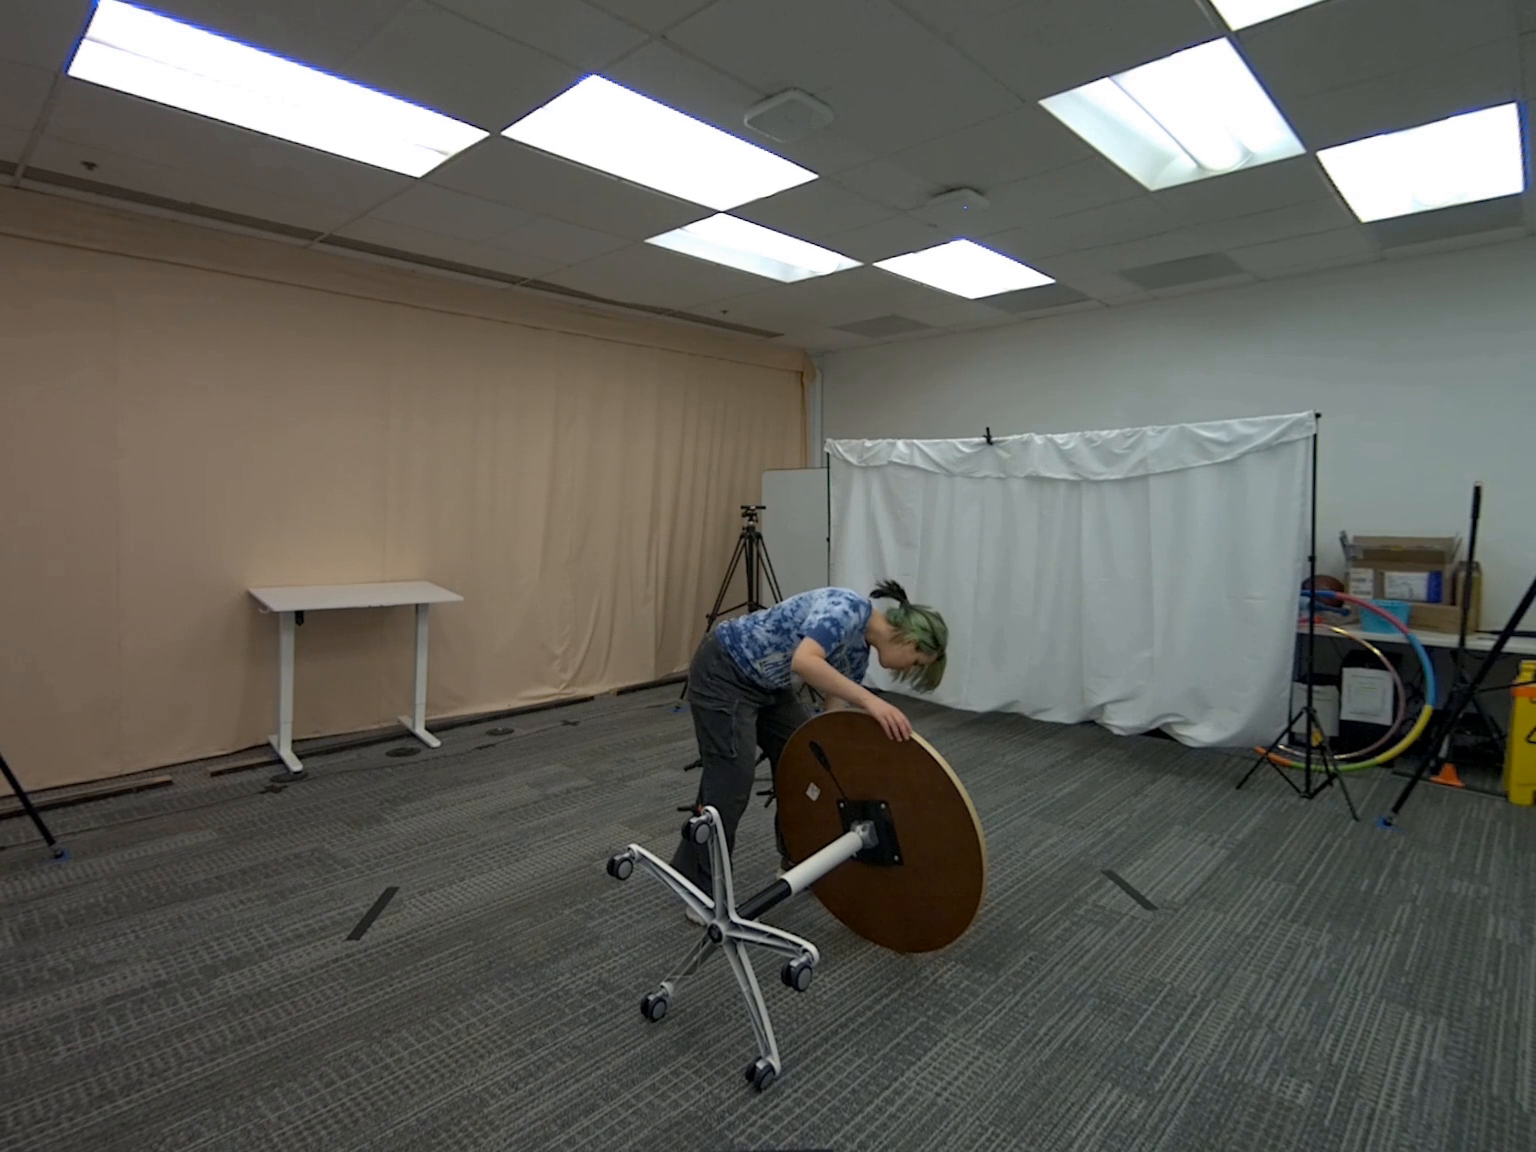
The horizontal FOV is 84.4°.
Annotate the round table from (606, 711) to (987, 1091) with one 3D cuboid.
[{"bbox_3d":[0.078,0.854,2.364,0.789,0.759,0.772,4,12,43],"label":"round table"}]
